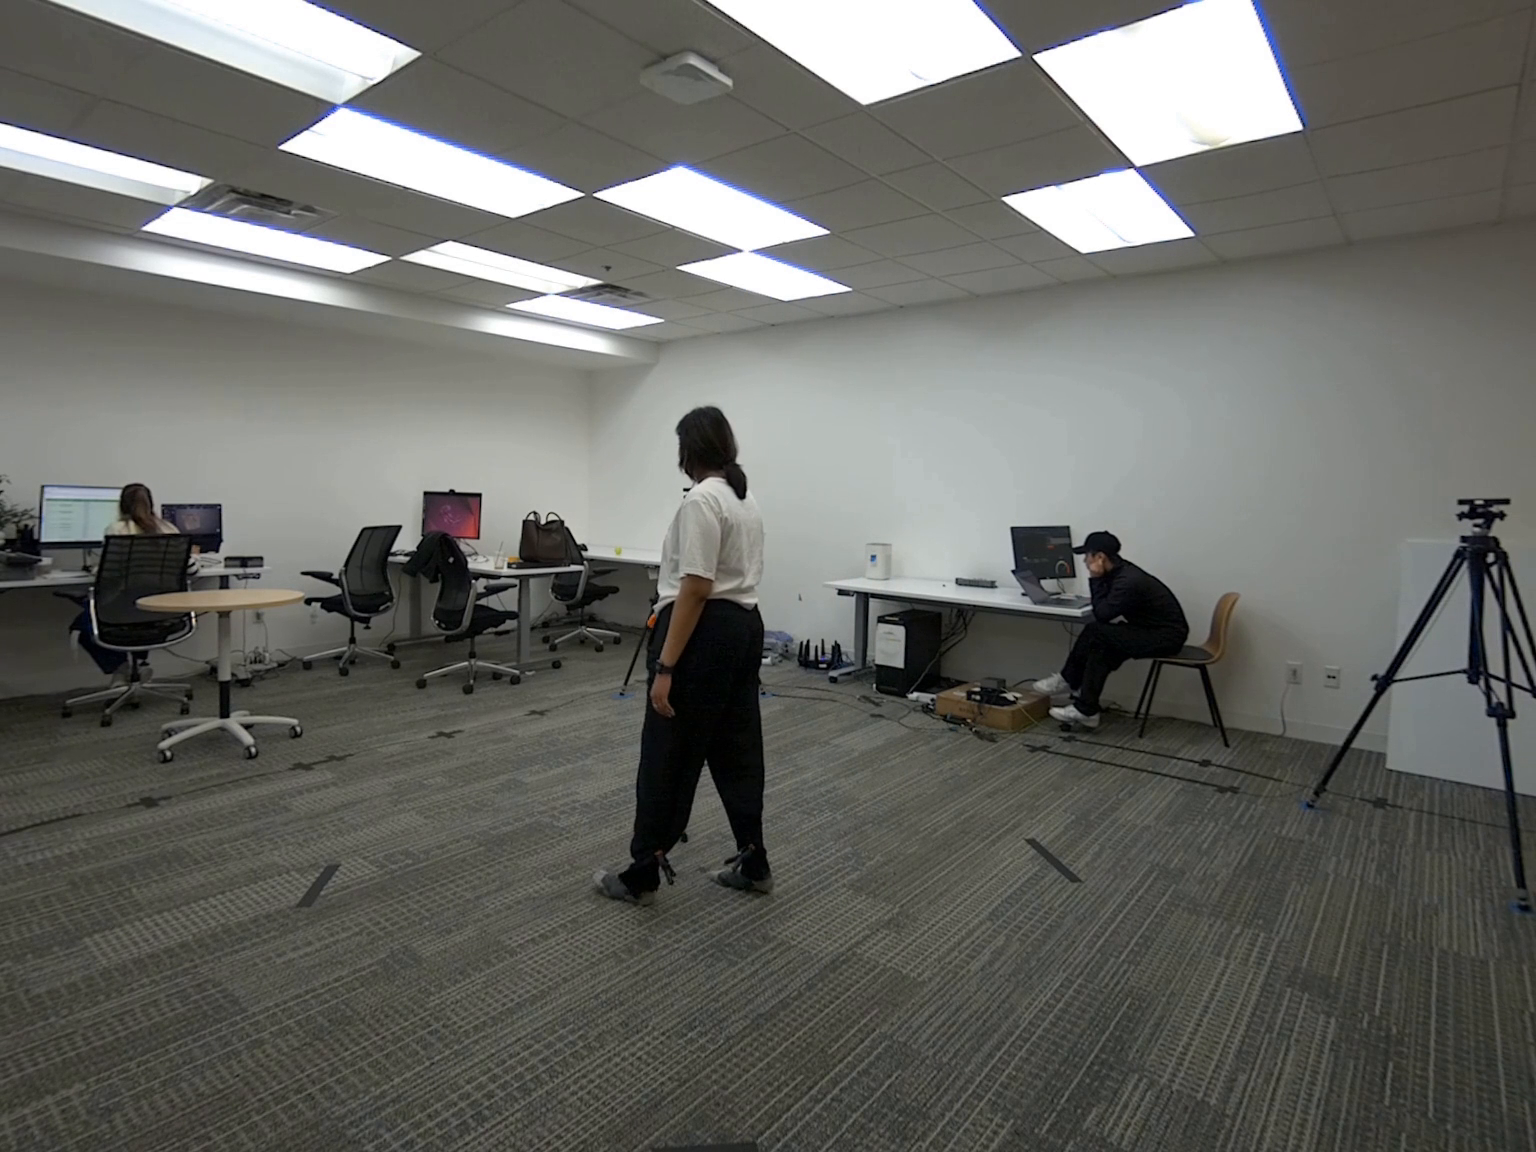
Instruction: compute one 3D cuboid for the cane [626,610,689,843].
[{"bbox_3d":[-0.425,0.582,3.382,0.205,0.905,0.153,1,3,-6],"label":"cane"}]
